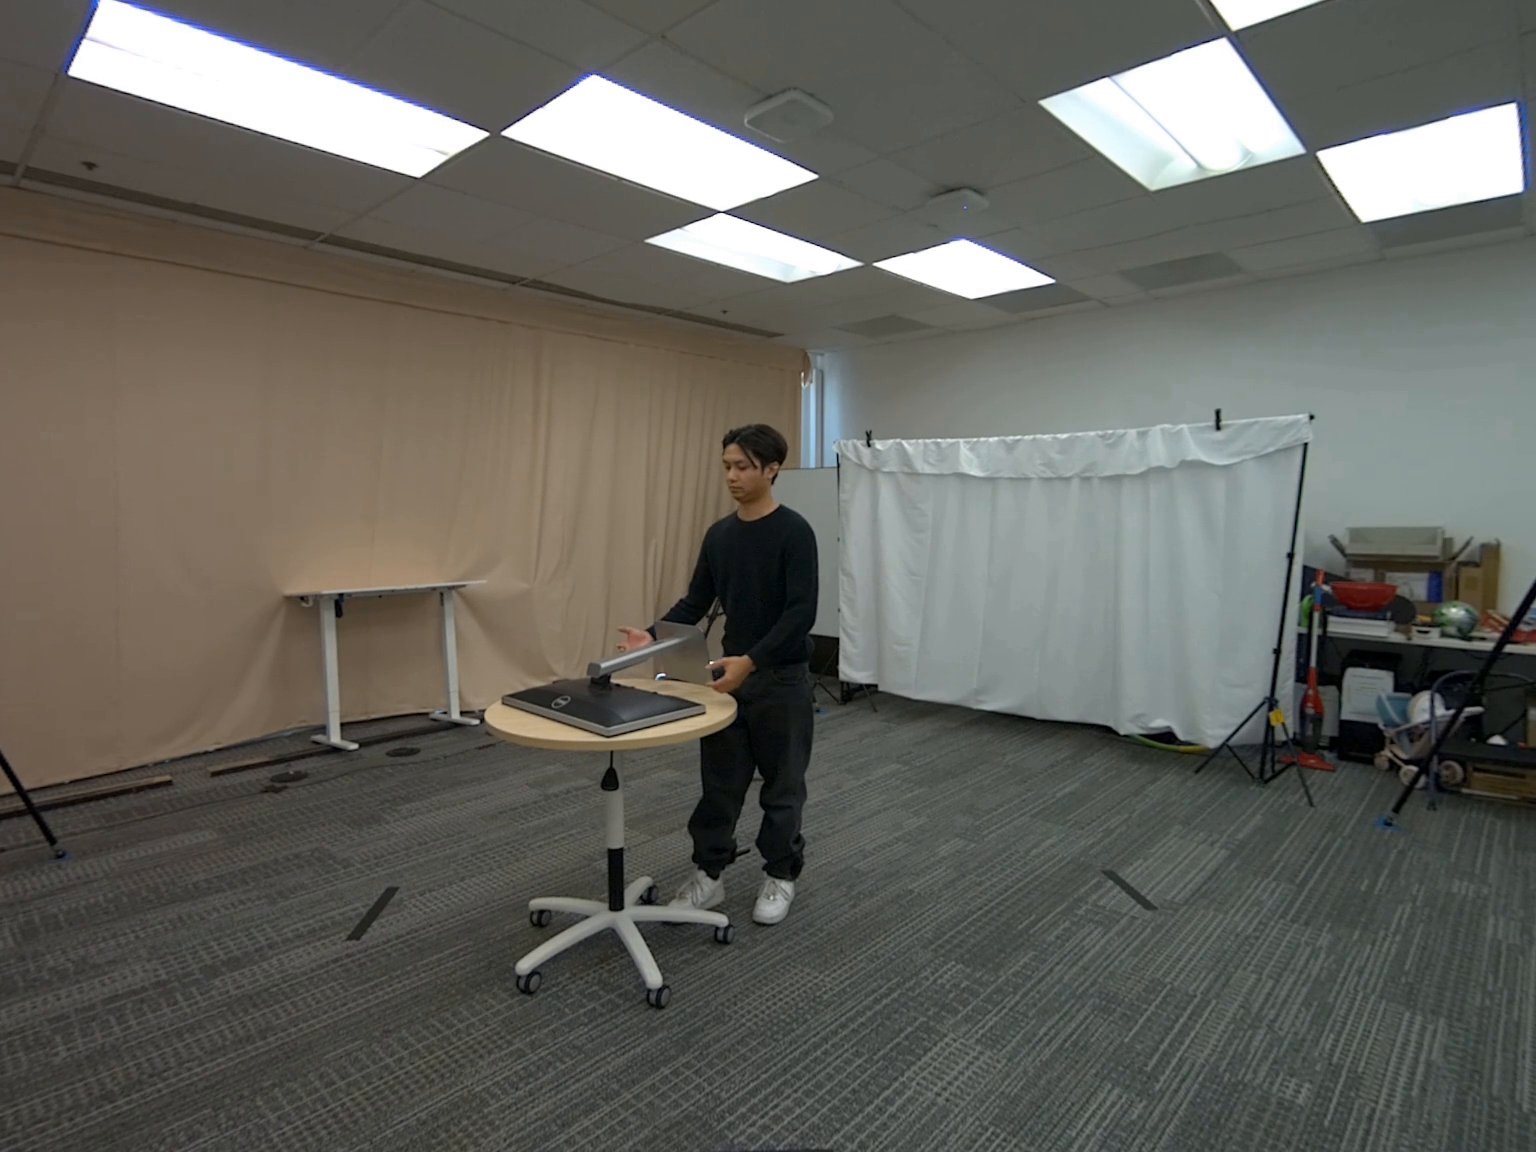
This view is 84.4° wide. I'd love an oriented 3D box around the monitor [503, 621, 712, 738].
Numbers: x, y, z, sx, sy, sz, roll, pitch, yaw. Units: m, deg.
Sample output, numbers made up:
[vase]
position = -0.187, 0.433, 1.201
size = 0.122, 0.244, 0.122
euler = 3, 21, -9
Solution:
[monitor]
position = -0.457, 0.328, 2.607
size = 0.557, 0.185, 0.512
euler = 1, 20, 44
